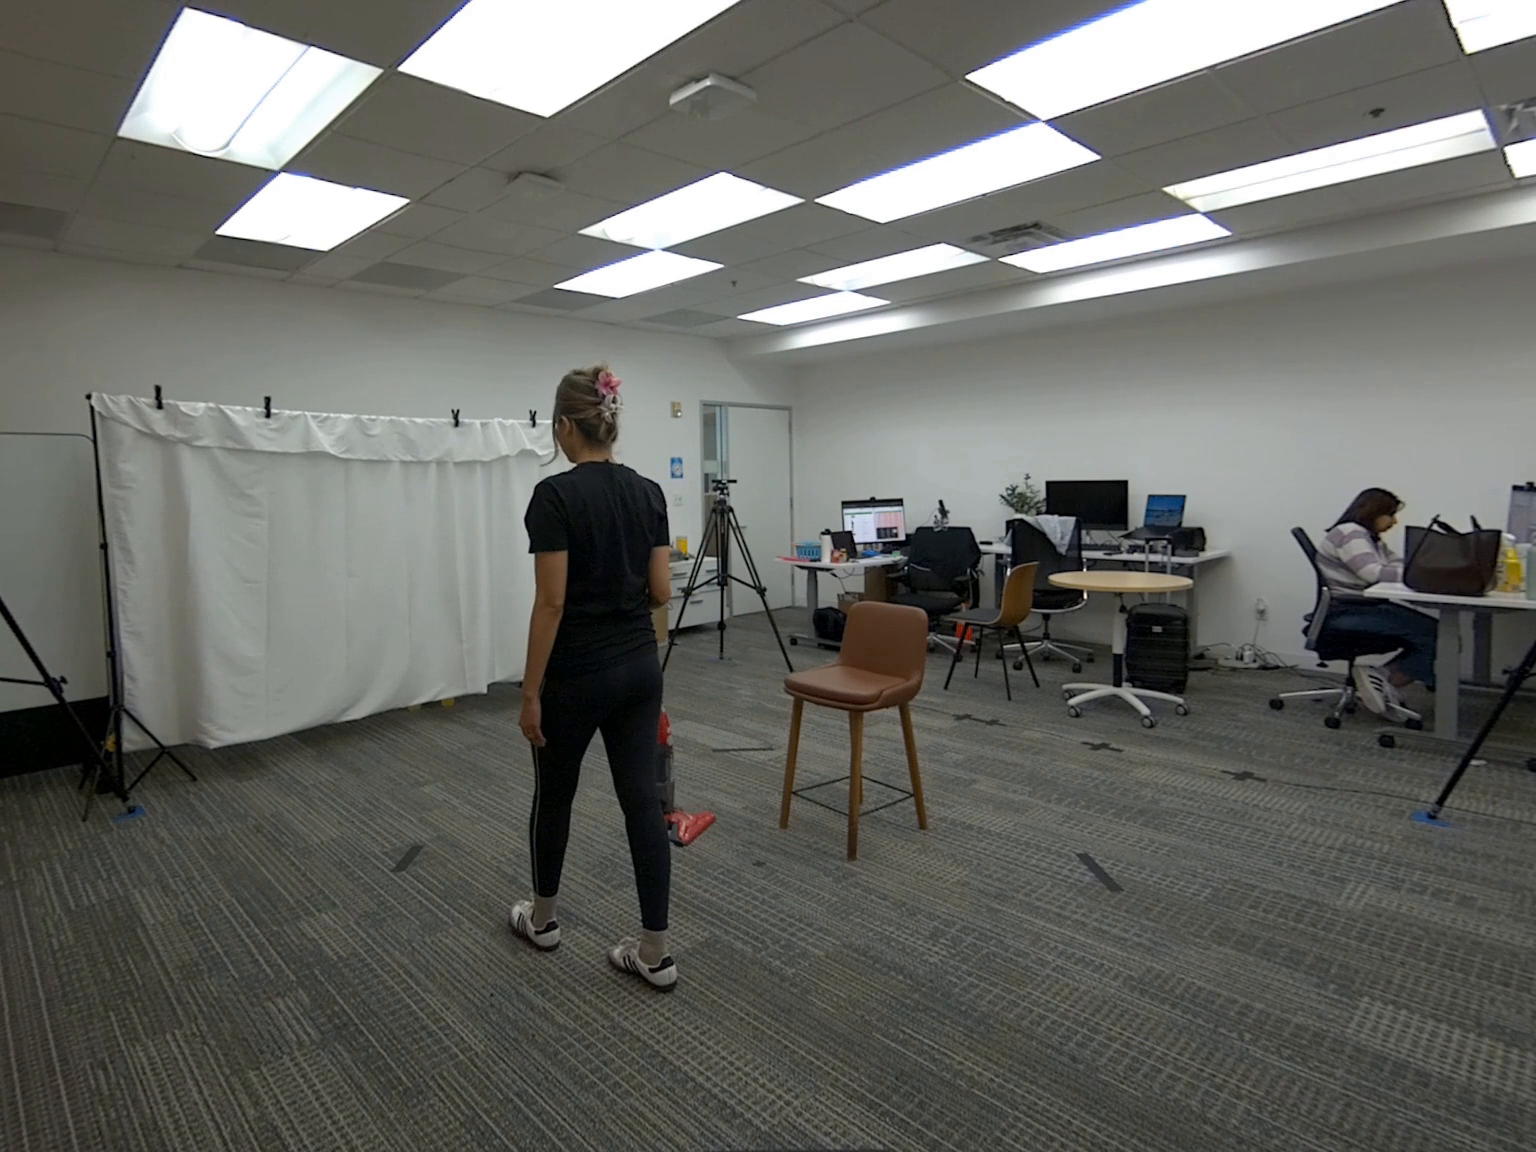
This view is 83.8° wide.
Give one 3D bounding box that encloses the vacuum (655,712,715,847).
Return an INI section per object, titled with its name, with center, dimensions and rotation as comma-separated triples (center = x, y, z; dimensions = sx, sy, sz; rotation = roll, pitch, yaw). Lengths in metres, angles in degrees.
[vacuum]
center = -0.423, 0.320, 2.798
dimensions = 0.146, 1.057, 0.247
rotation = -19, -7, 23
